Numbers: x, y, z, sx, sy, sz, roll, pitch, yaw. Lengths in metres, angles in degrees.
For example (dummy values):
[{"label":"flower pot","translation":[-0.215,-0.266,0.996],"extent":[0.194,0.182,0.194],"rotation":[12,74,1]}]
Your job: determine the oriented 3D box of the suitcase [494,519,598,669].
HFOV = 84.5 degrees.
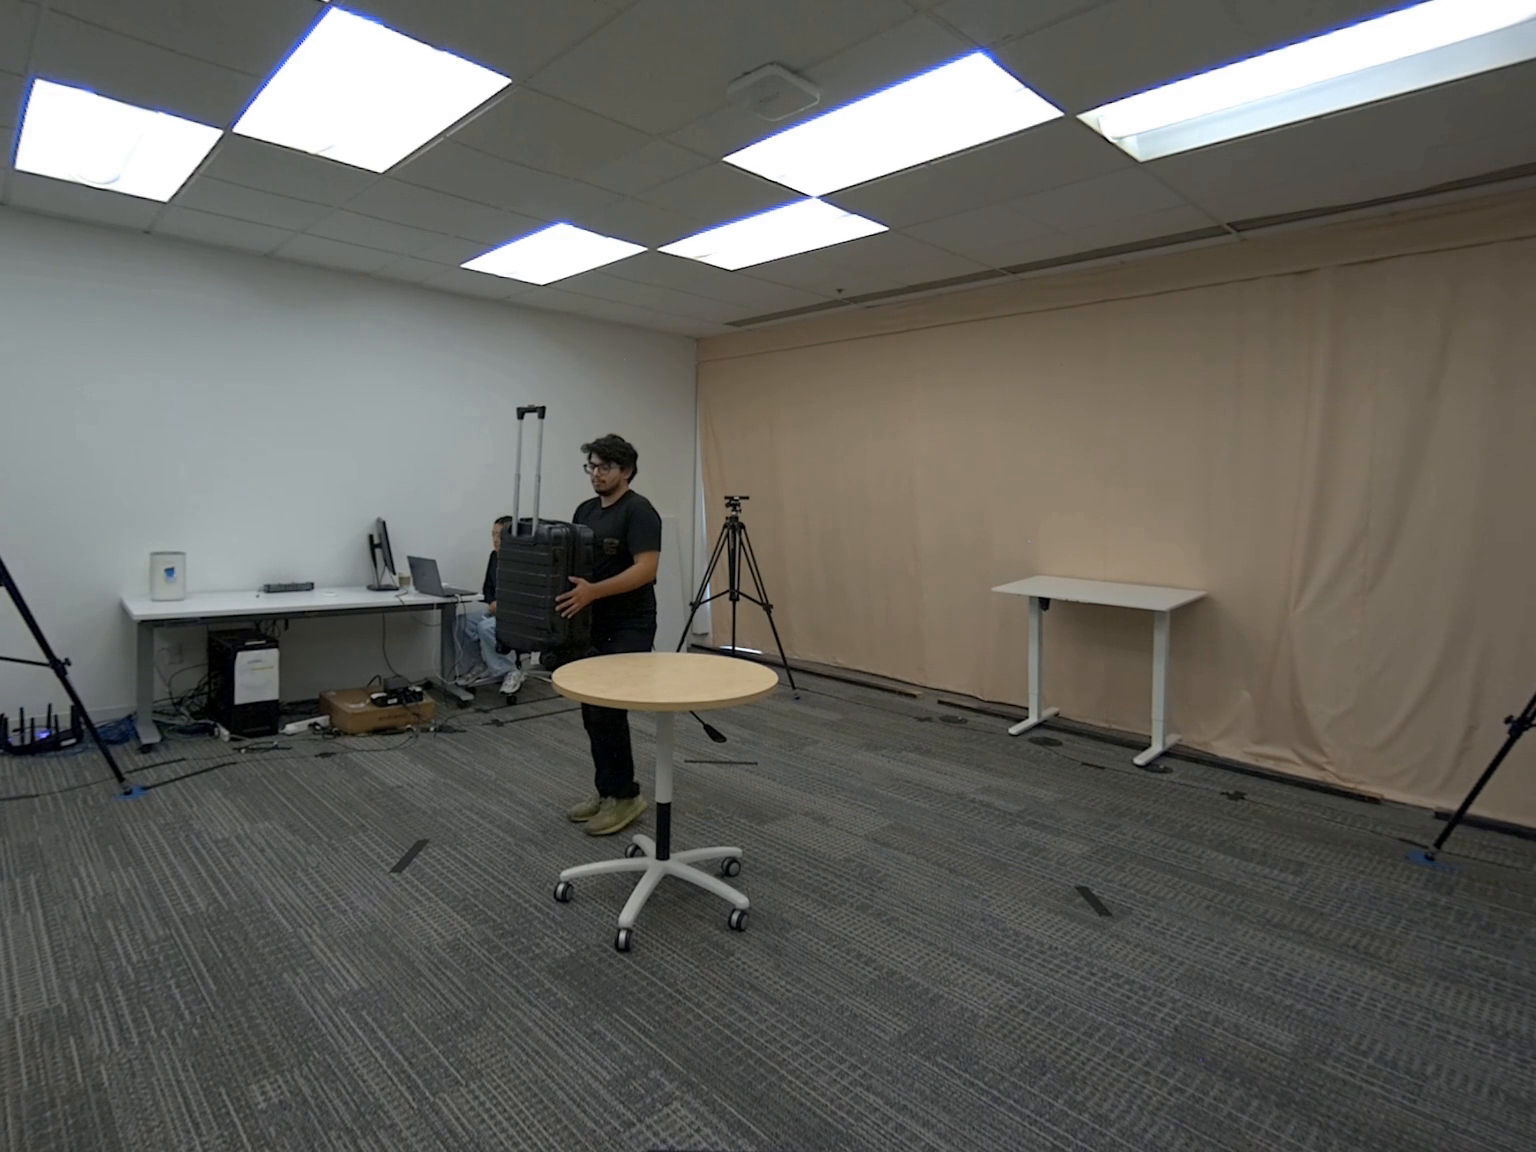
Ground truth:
[{"label":"suitcase","translation":[-0.879,-0.160,3.318],"extent":[0.394,0.977,0.251],"rotation":[7,4,41]}]
